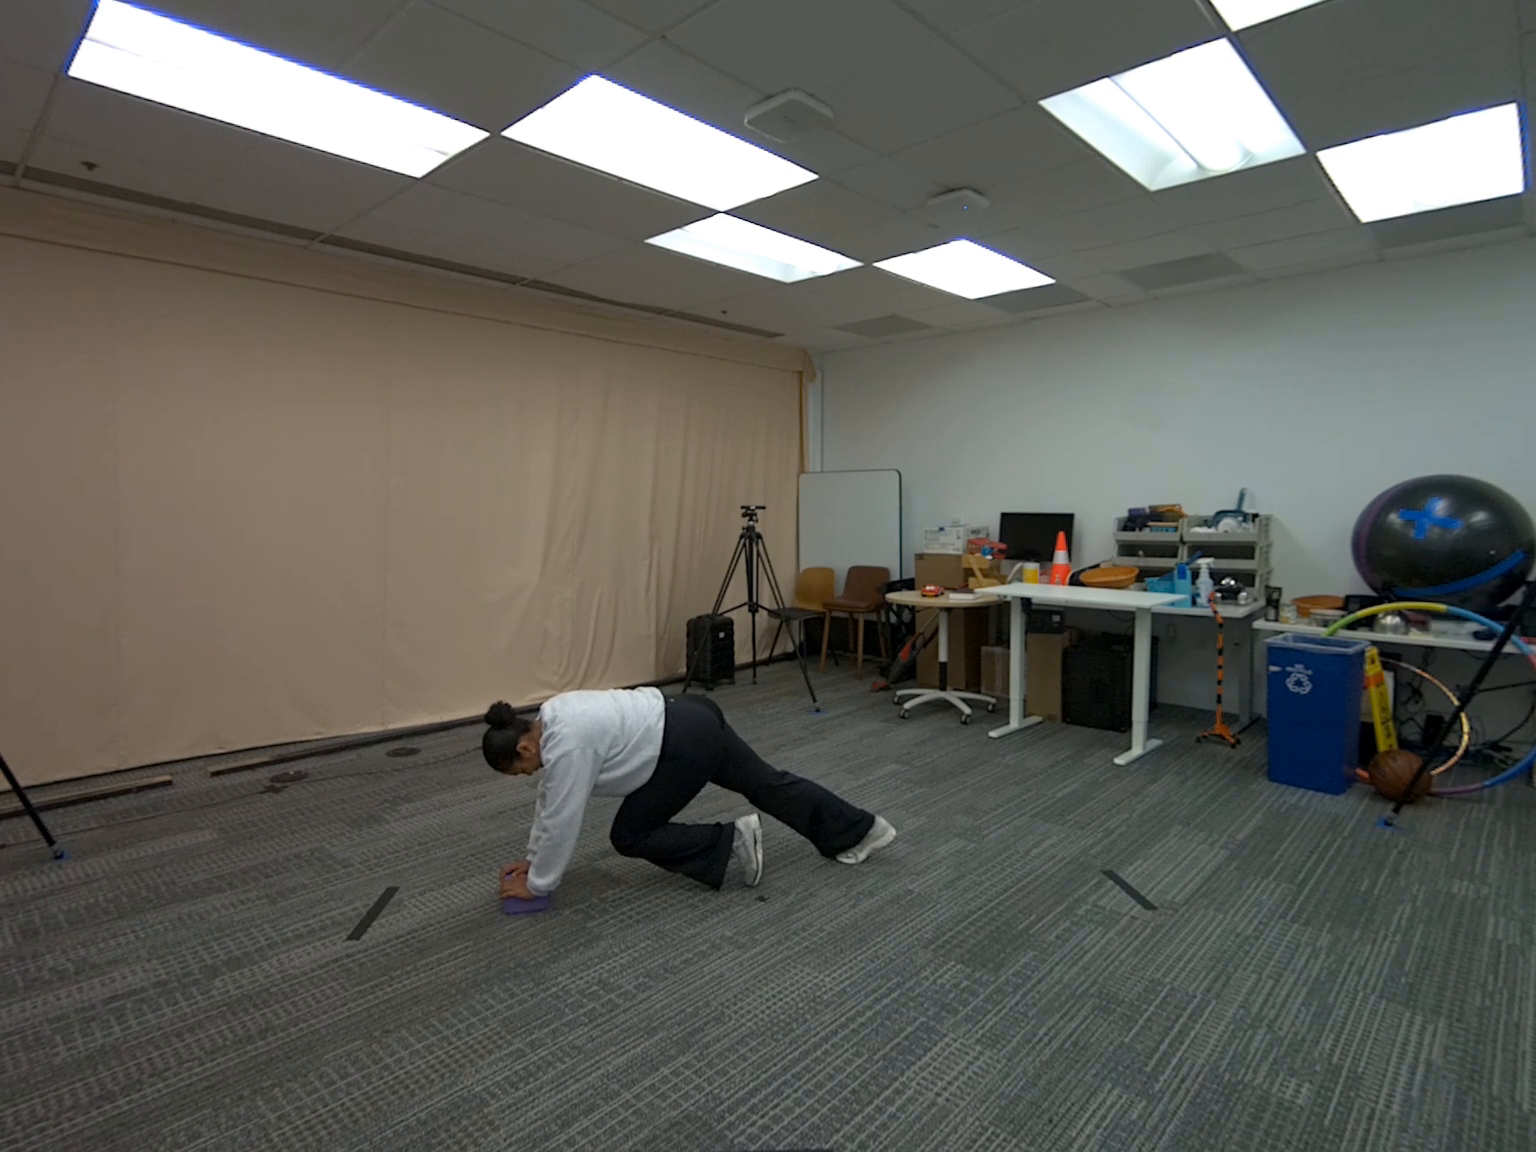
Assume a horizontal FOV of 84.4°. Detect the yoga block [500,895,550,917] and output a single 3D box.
[{"bbox_3d":[-0.867,1.120,2.998,0.147,0.076,0.234,-2,6,-16],"label":"yoga block"}]
